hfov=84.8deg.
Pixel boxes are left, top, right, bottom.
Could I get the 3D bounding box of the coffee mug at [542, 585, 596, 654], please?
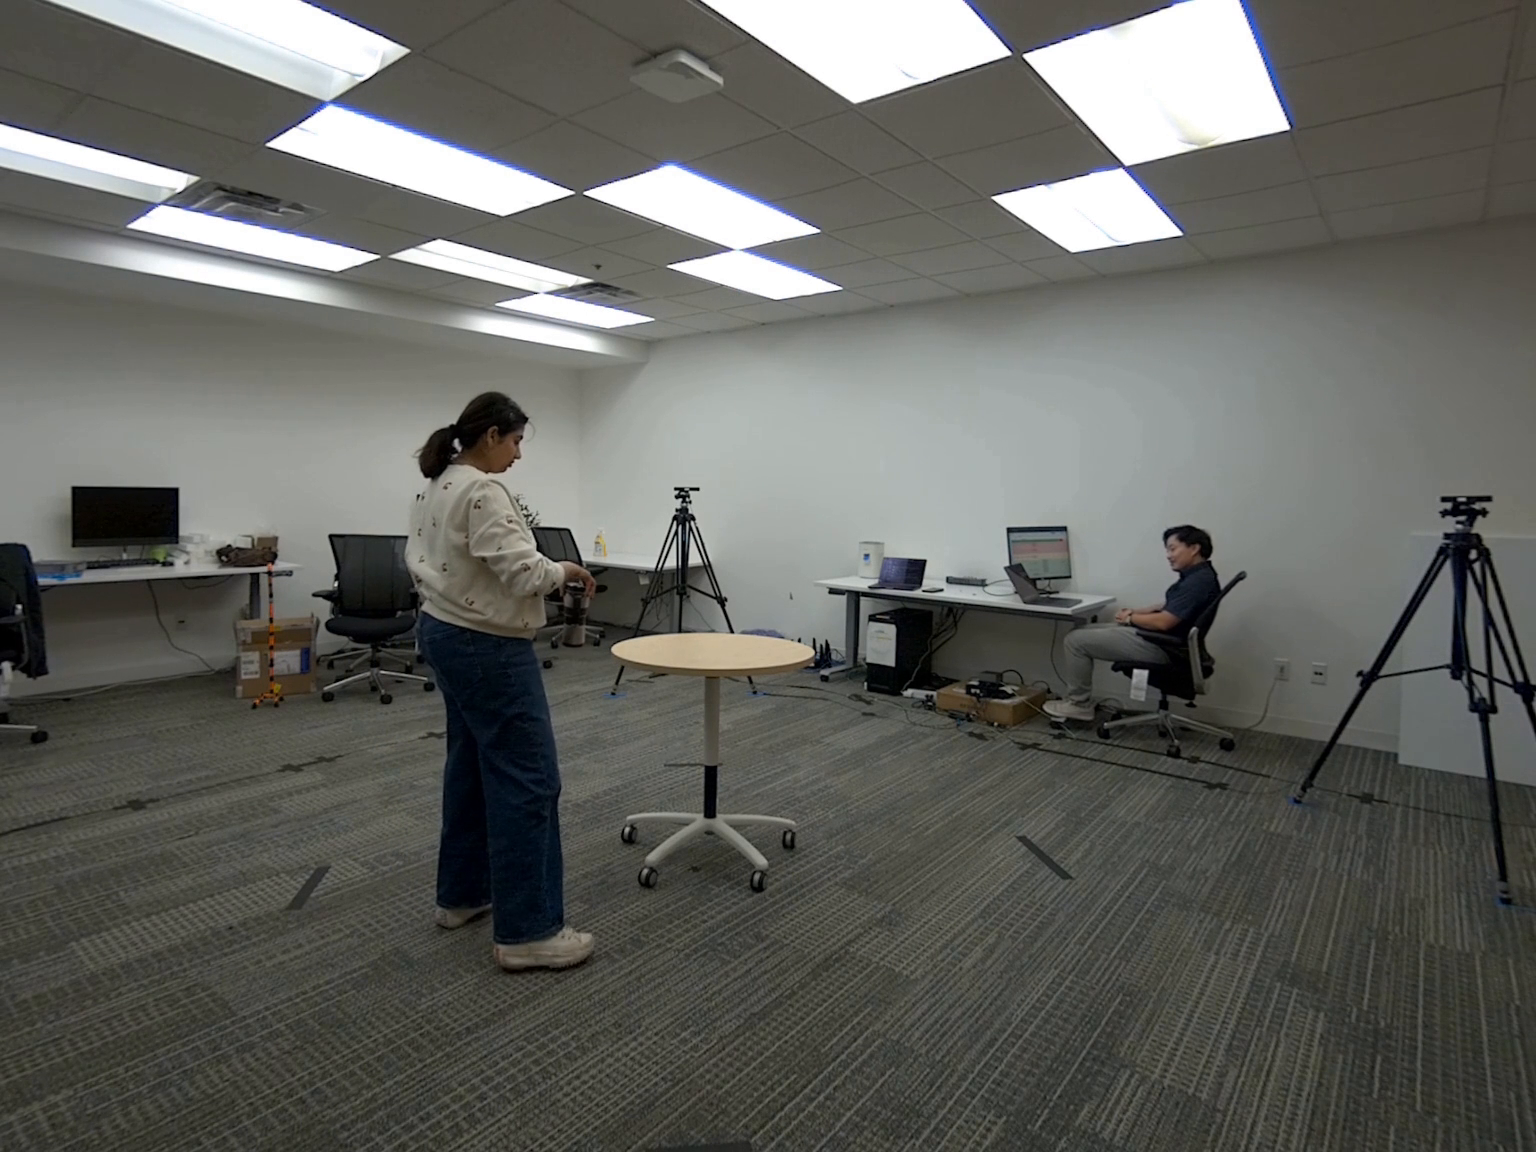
[{"bbox_3d":[-0.649,0.133,2.741,0.091,0.201,0.119,16,13,33],"label":"coffee mug"}]
